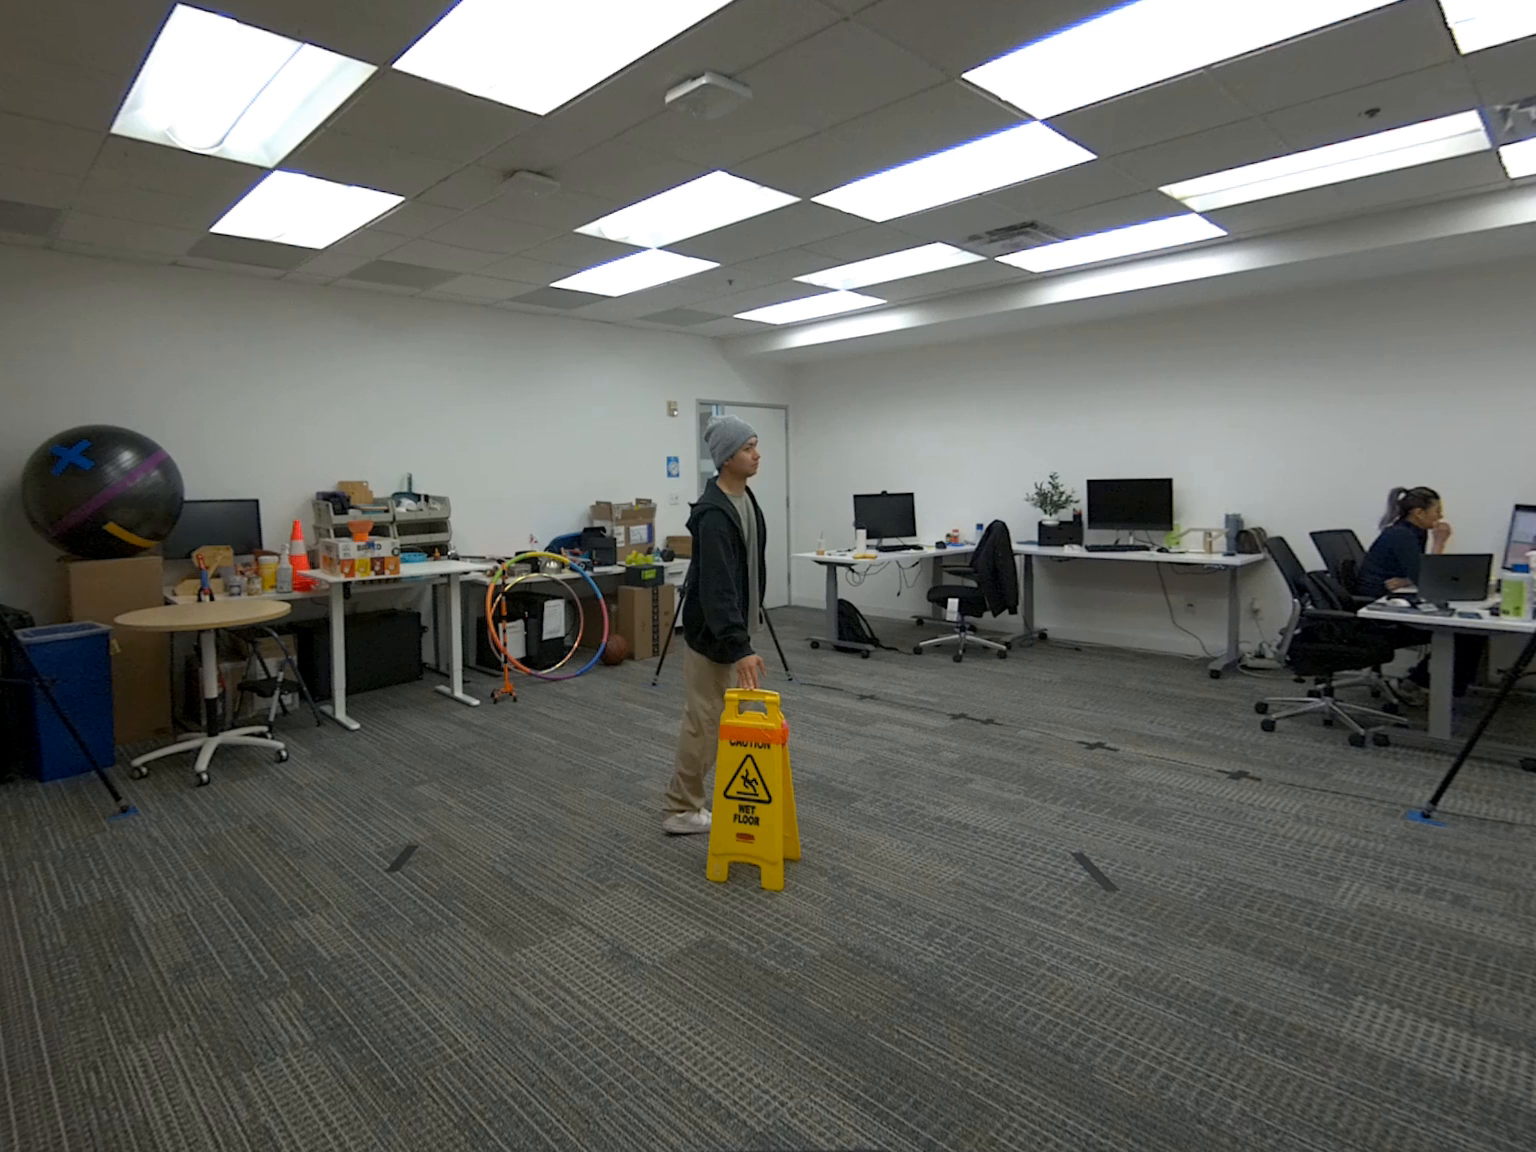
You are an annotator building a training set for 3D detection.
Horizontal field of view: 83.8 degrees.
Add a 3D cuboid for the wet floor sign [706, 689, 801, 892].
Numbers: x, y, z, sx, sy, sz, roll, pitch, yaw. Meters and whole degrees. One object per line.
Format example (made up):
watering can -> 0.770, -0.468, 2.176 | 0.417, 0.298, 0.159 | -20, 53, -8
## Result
wet floor sign -> -0.051, 0.730, 3.035 | 0.287, 0.644, 0.286 | -1, 4, 18
